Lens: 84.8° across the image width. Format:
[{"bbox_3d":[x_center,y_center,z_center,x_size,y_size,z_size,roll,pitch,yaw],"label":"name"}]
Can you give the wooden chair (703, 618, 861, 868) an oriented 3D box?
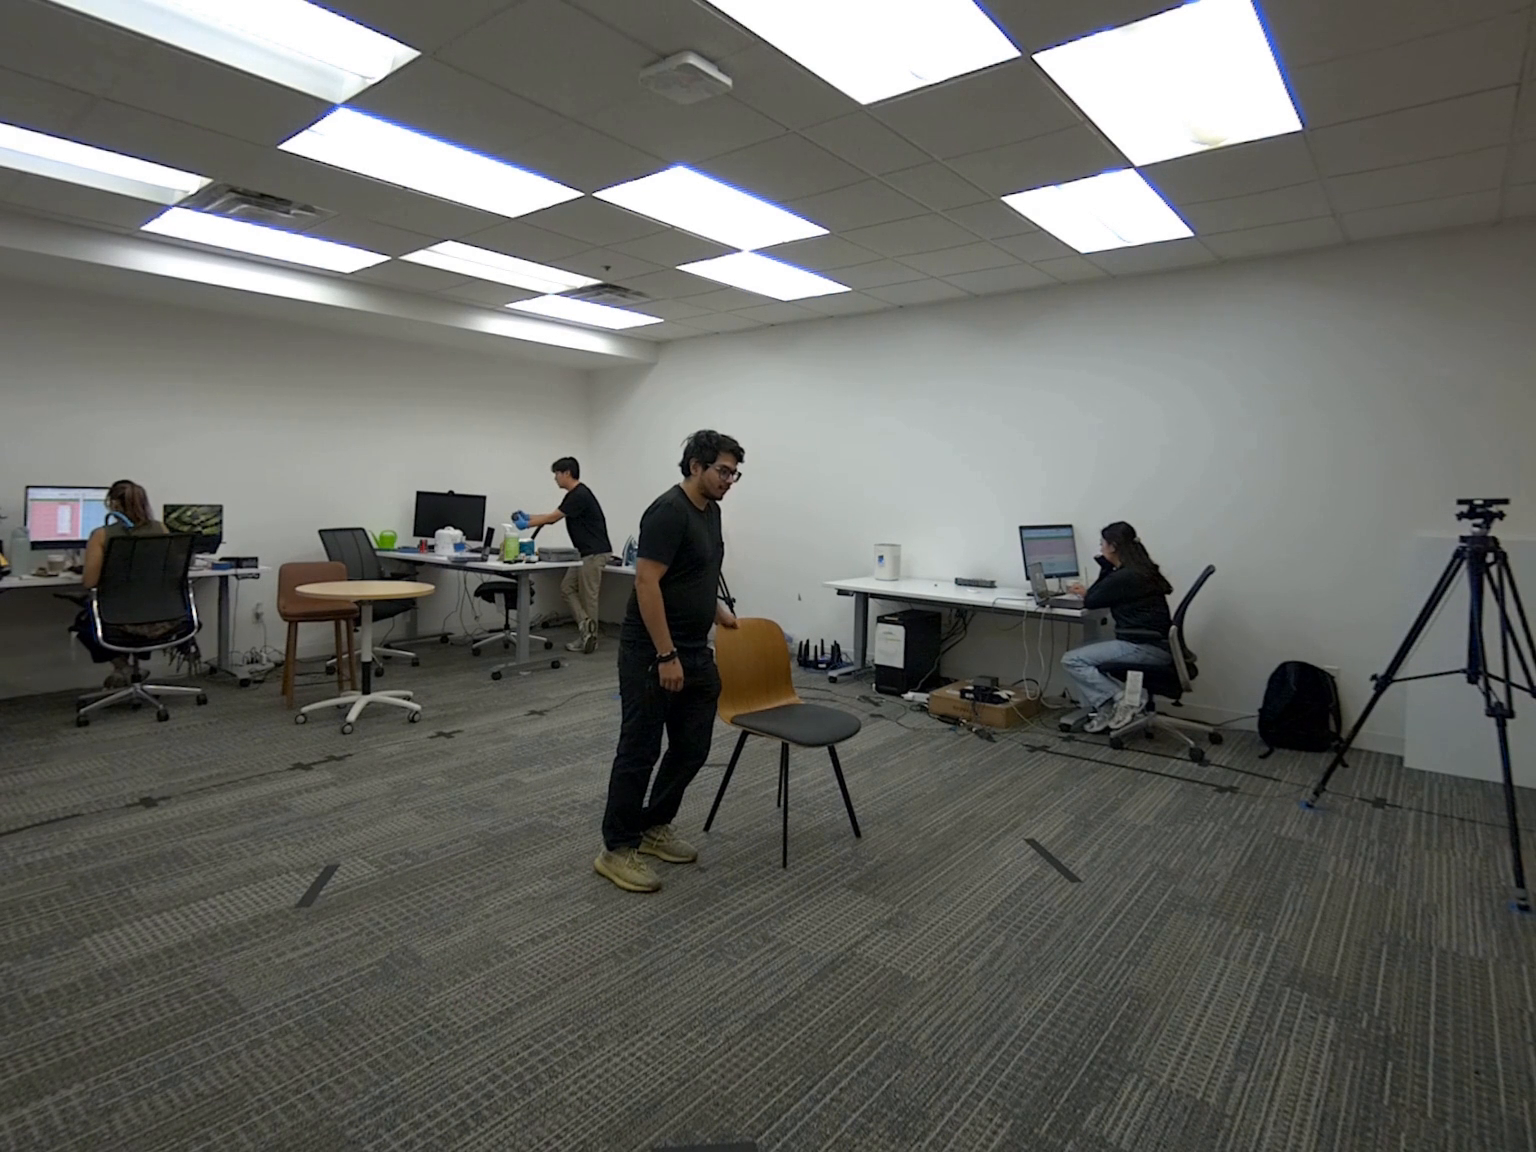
[{"bbox_3d":[0.066,0.620,3.413,0.463,0.877,0.539,-3,1,-45],"label":"wooden chair"}]
